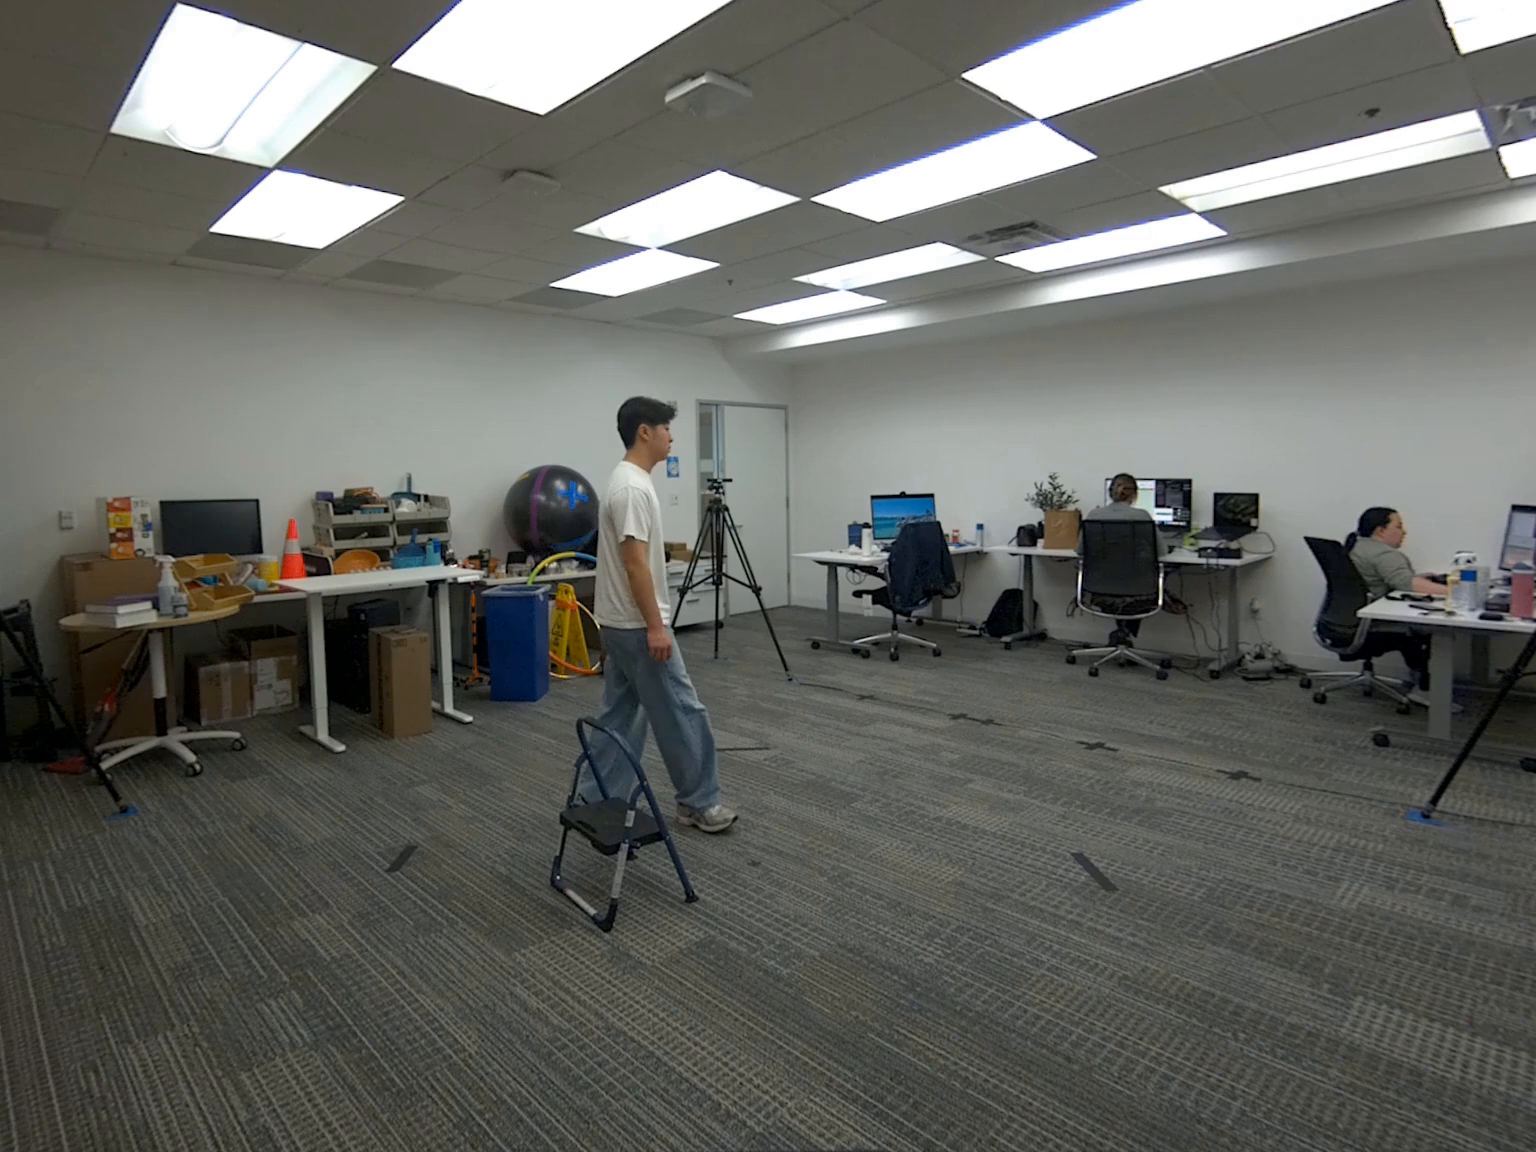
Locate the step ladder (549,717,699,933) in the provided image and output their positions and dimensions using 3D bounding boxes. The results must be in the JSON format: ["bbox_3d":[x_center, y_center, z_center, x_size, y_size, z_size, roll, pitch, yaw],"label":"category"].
[{"bbox_3d":[-0.508,0.778,2.890,0.340,0.604,0.444,-5,6,-38],"label":"step ladder"}]
